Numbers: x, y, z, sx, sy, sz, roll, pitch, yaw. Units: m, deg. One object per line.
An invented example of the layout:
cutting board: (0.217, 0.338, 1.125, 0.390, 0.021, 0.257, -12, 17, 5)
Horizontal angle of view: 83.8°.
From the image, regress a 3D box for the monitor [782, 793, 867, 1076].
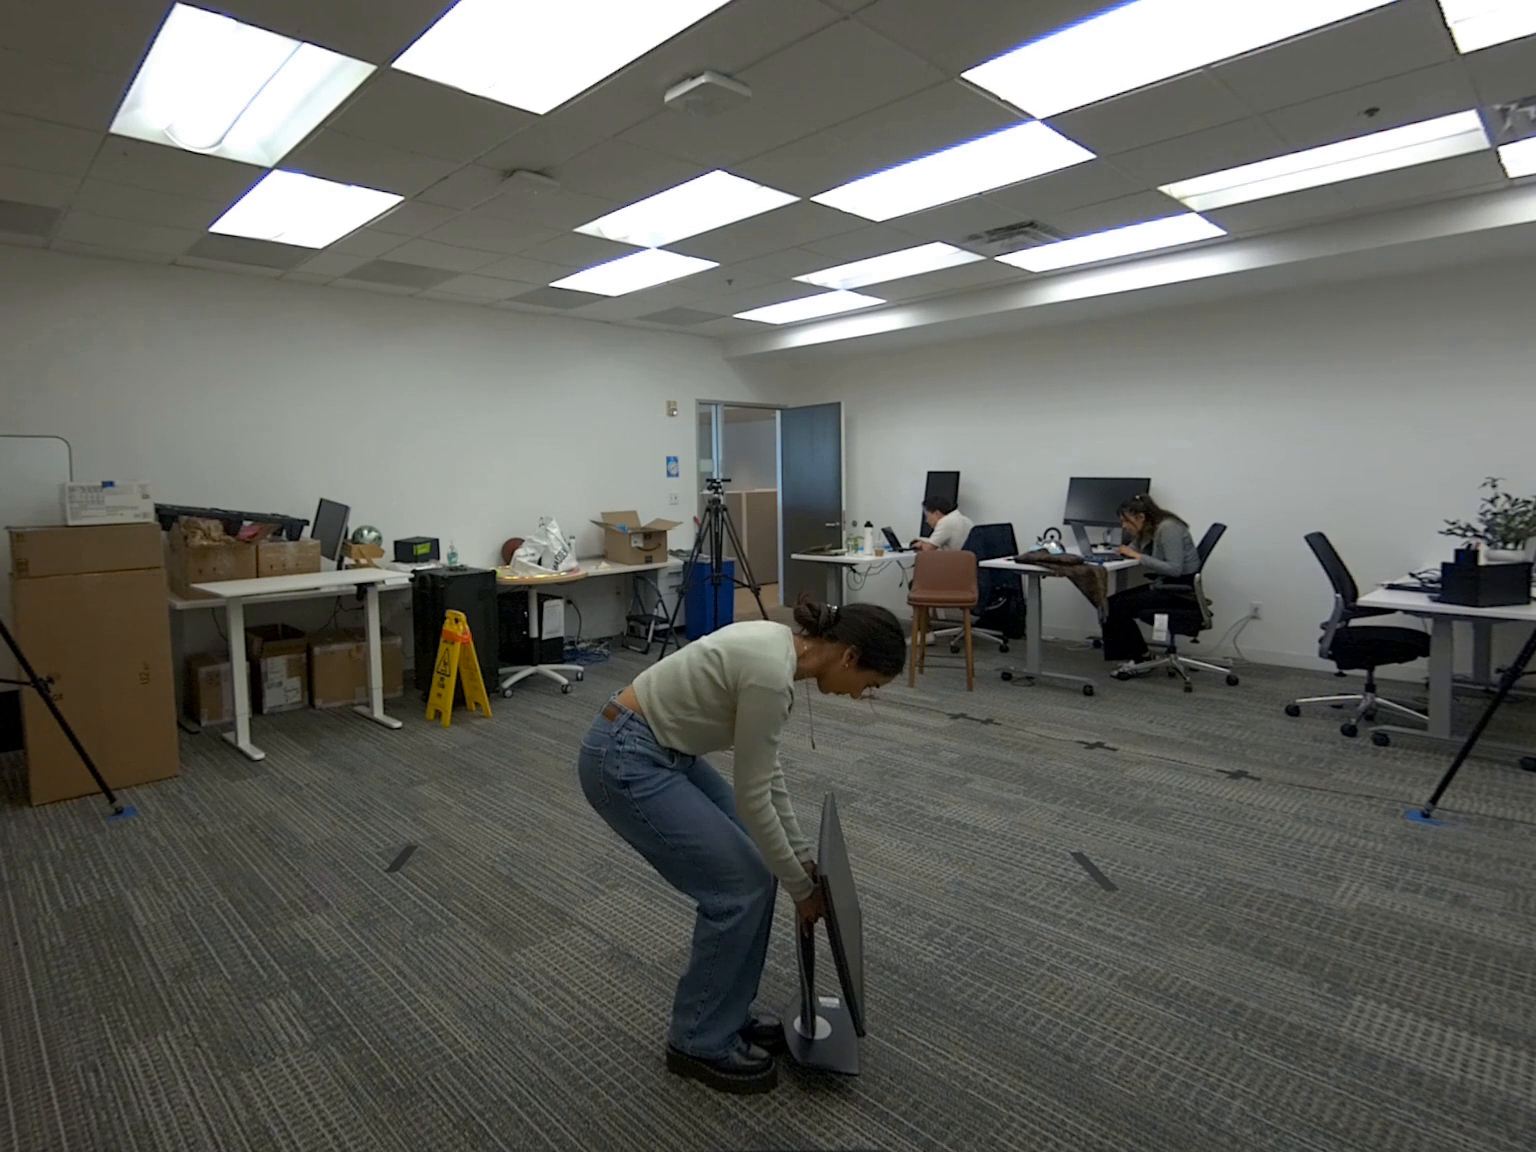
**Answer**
monitor: (0.154, 0.845, 2.048, 0.176, 0.514, 0.528, 6, 5, 5)
